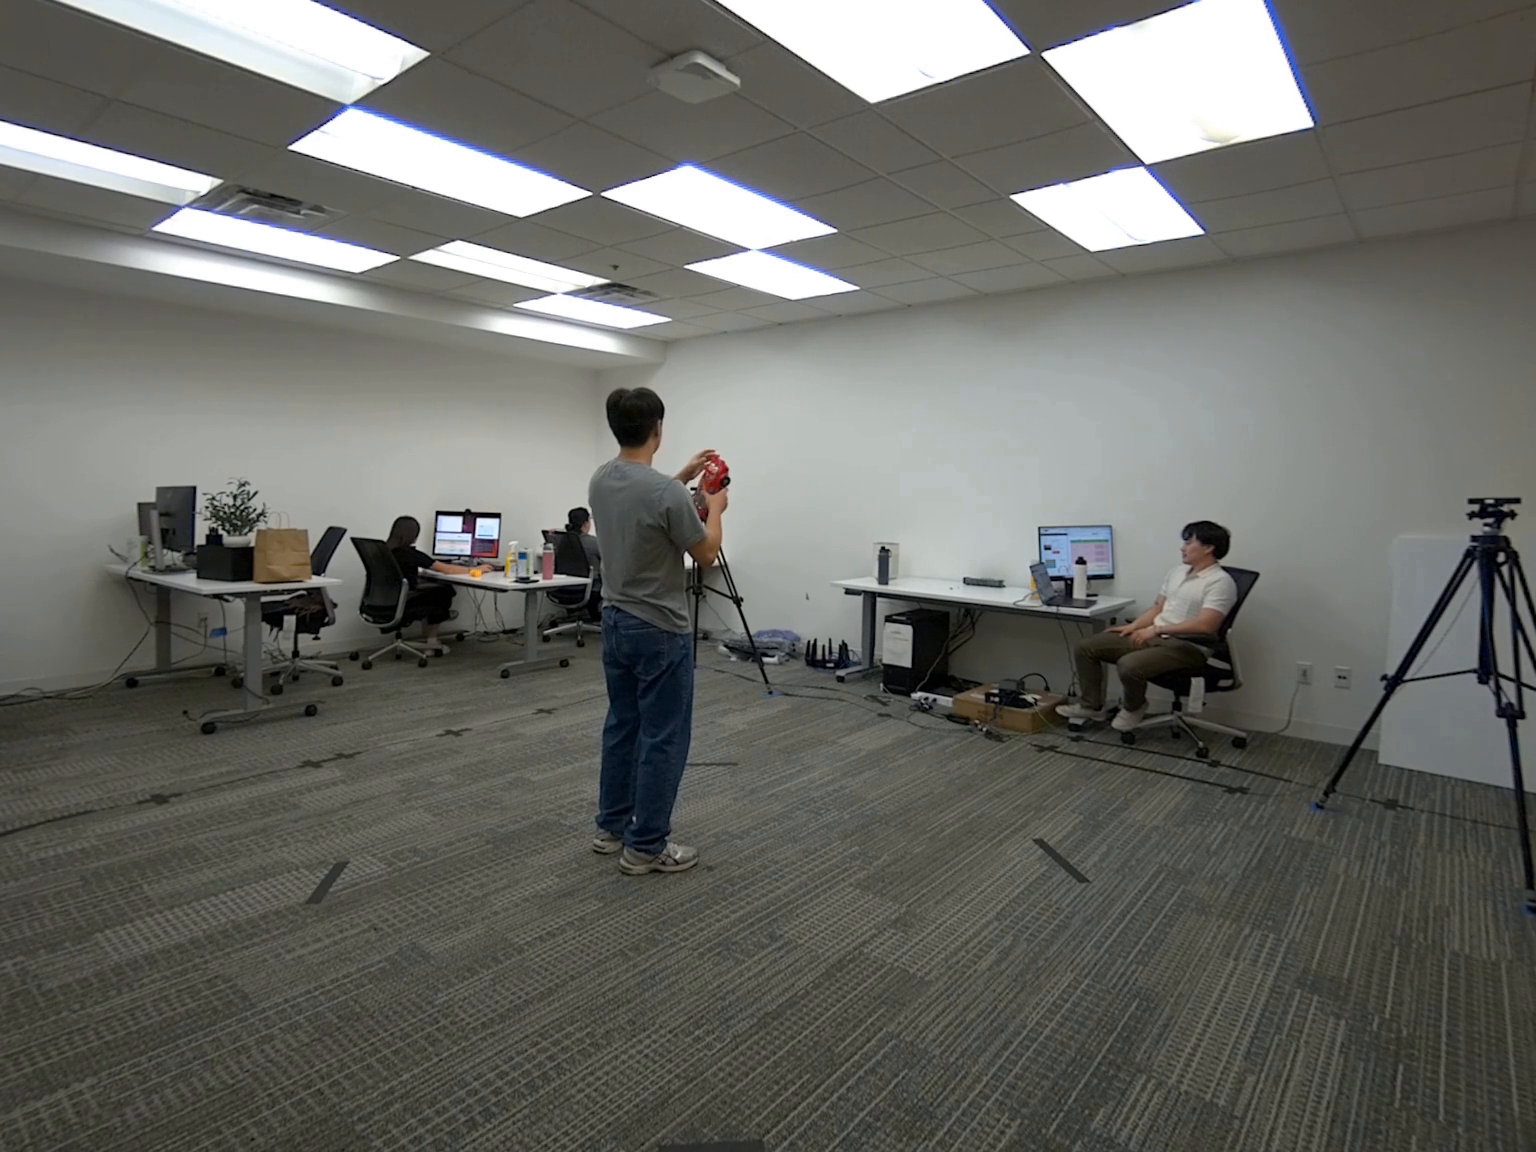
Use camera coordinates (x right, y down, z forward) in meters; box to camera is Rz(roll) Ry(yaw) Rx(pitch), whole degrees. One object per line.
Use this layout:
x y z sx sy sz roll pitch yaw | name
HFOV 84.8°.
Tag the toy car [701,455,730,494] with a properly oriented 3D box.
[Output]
-0.230 -0.360 3.338 0.081 0.250 0.136 -4 36 -33 | toy car
